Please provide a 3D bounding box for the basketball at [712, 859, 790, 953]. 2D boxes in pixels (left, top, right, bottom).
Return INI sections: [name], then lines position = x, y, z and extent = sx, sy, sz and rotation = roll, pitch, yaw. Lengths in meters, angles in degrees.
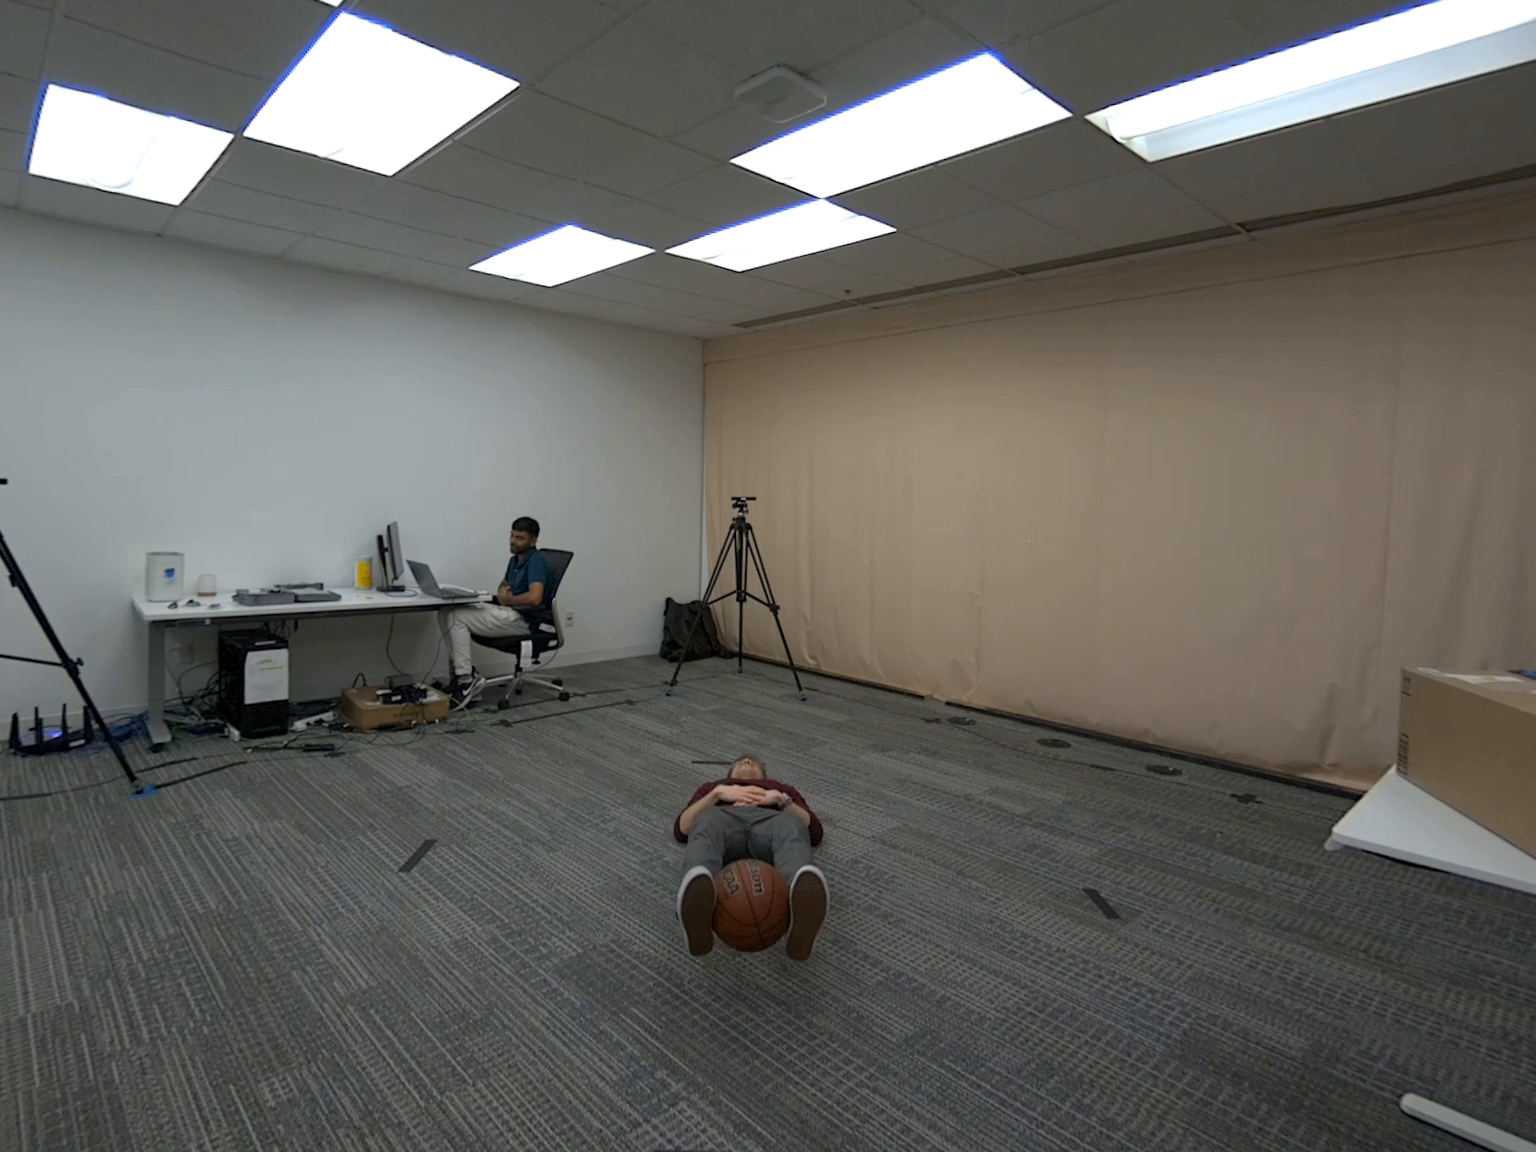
[basketball]
position = -0.058, 0.913, 2.344
extent = 0.236, 0.234, 0.237
rotation = 0, 7, -1
